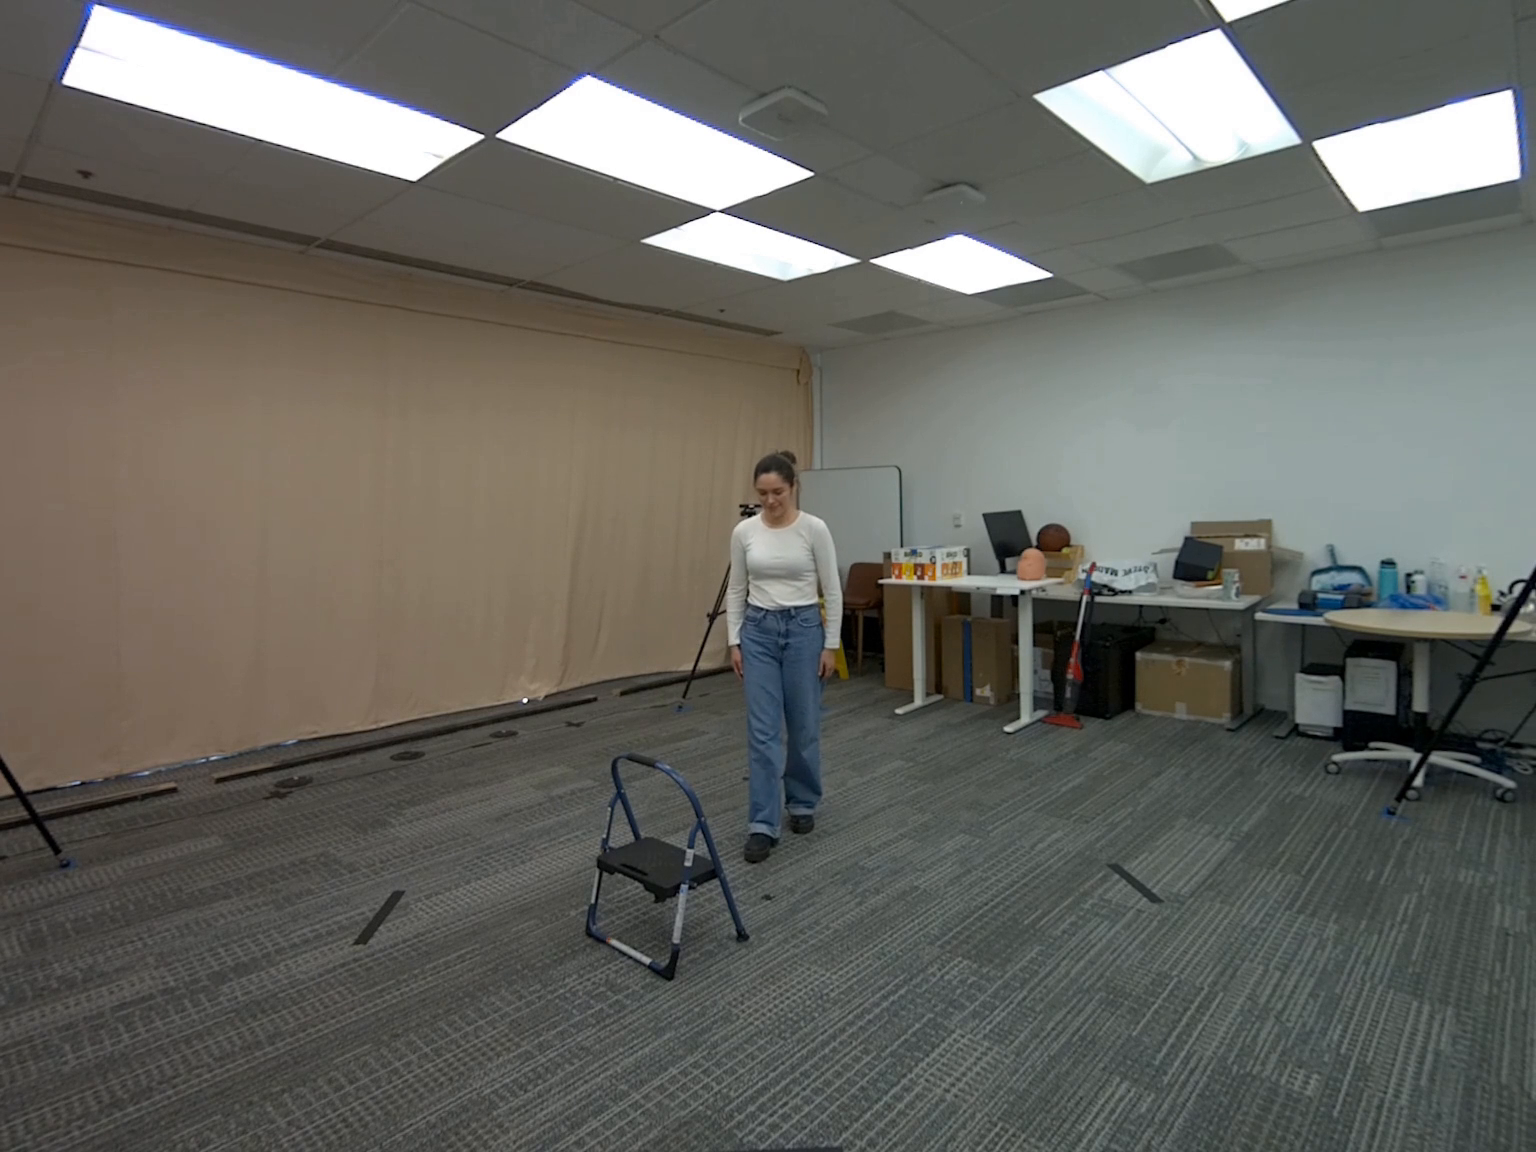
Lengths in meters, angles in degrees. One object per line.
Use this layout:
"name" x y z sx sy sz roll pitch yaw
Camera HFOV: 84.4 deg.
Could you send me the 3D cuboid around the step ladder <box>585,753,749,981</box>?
"step ladder" -0.335 0.866 2.718 0.445 0.605 0.338 2 4 42
